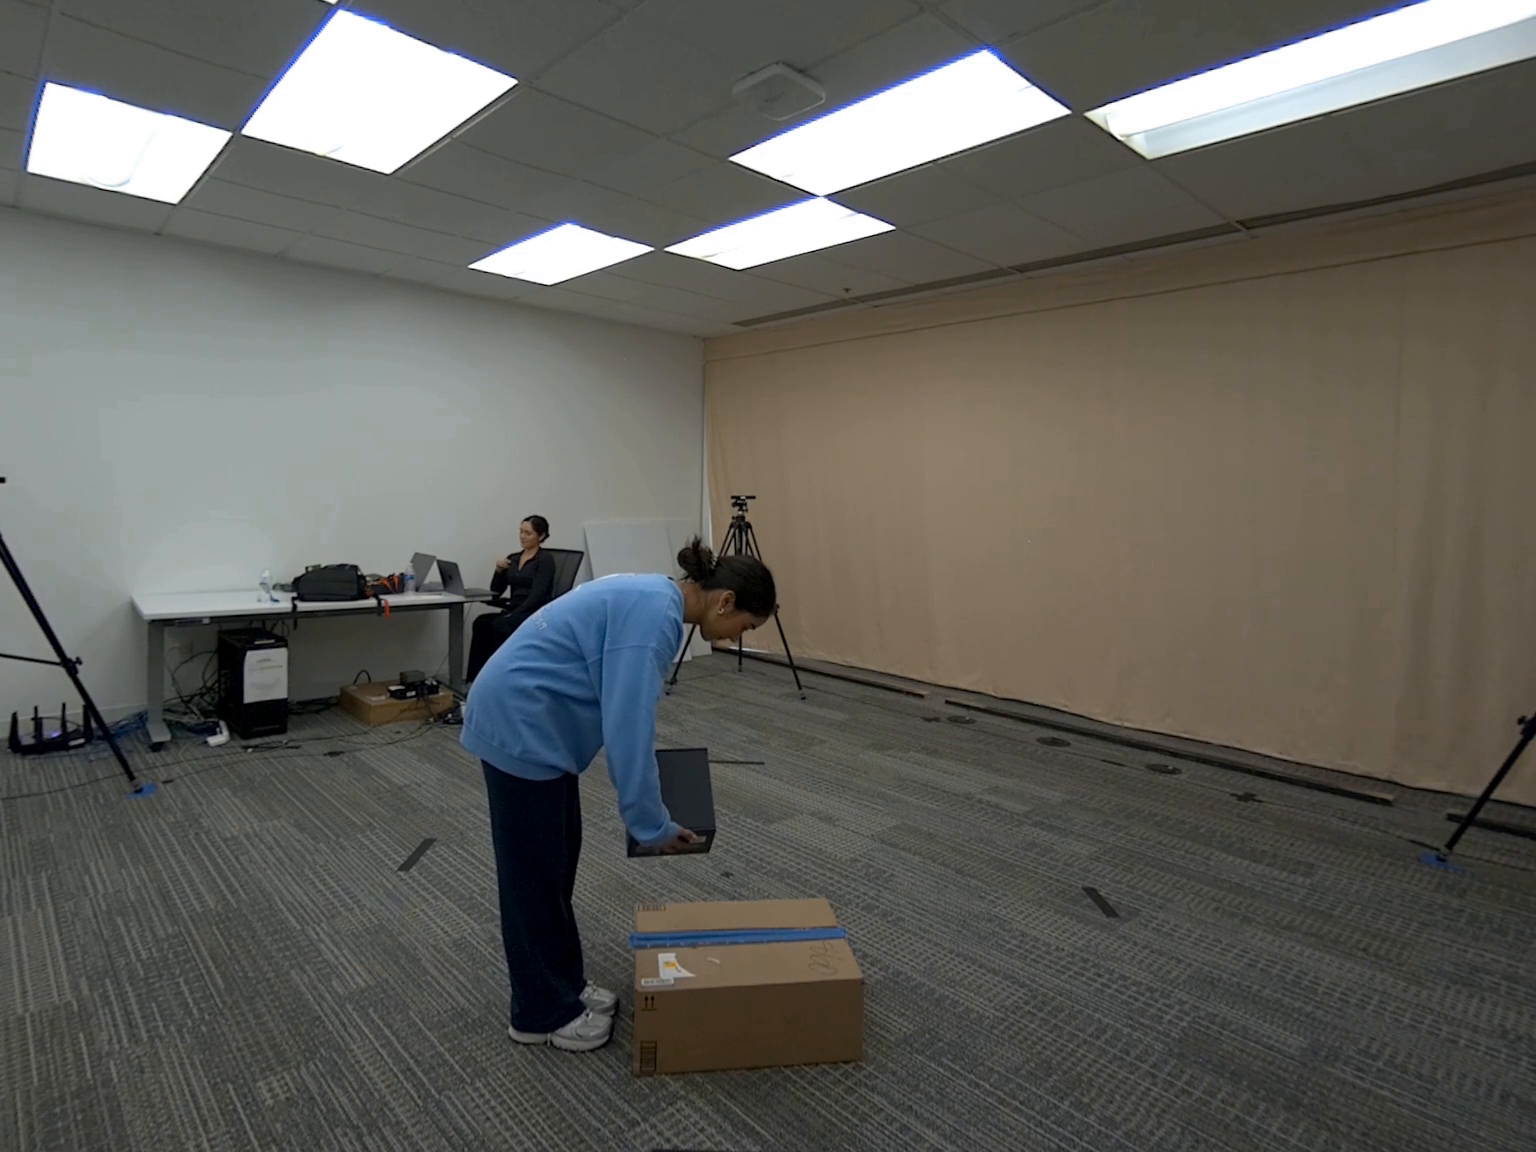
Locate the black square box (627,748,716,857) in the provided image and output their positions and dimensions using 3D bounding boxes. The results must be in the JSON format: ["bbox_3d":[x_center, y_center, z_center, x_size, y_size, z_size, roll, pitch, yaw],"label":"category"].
[{"bbox_3d":[-0.269,0.589,2.209,0.215,0.234,0.153,-1,-41,-12],"label":"black square box"}]
